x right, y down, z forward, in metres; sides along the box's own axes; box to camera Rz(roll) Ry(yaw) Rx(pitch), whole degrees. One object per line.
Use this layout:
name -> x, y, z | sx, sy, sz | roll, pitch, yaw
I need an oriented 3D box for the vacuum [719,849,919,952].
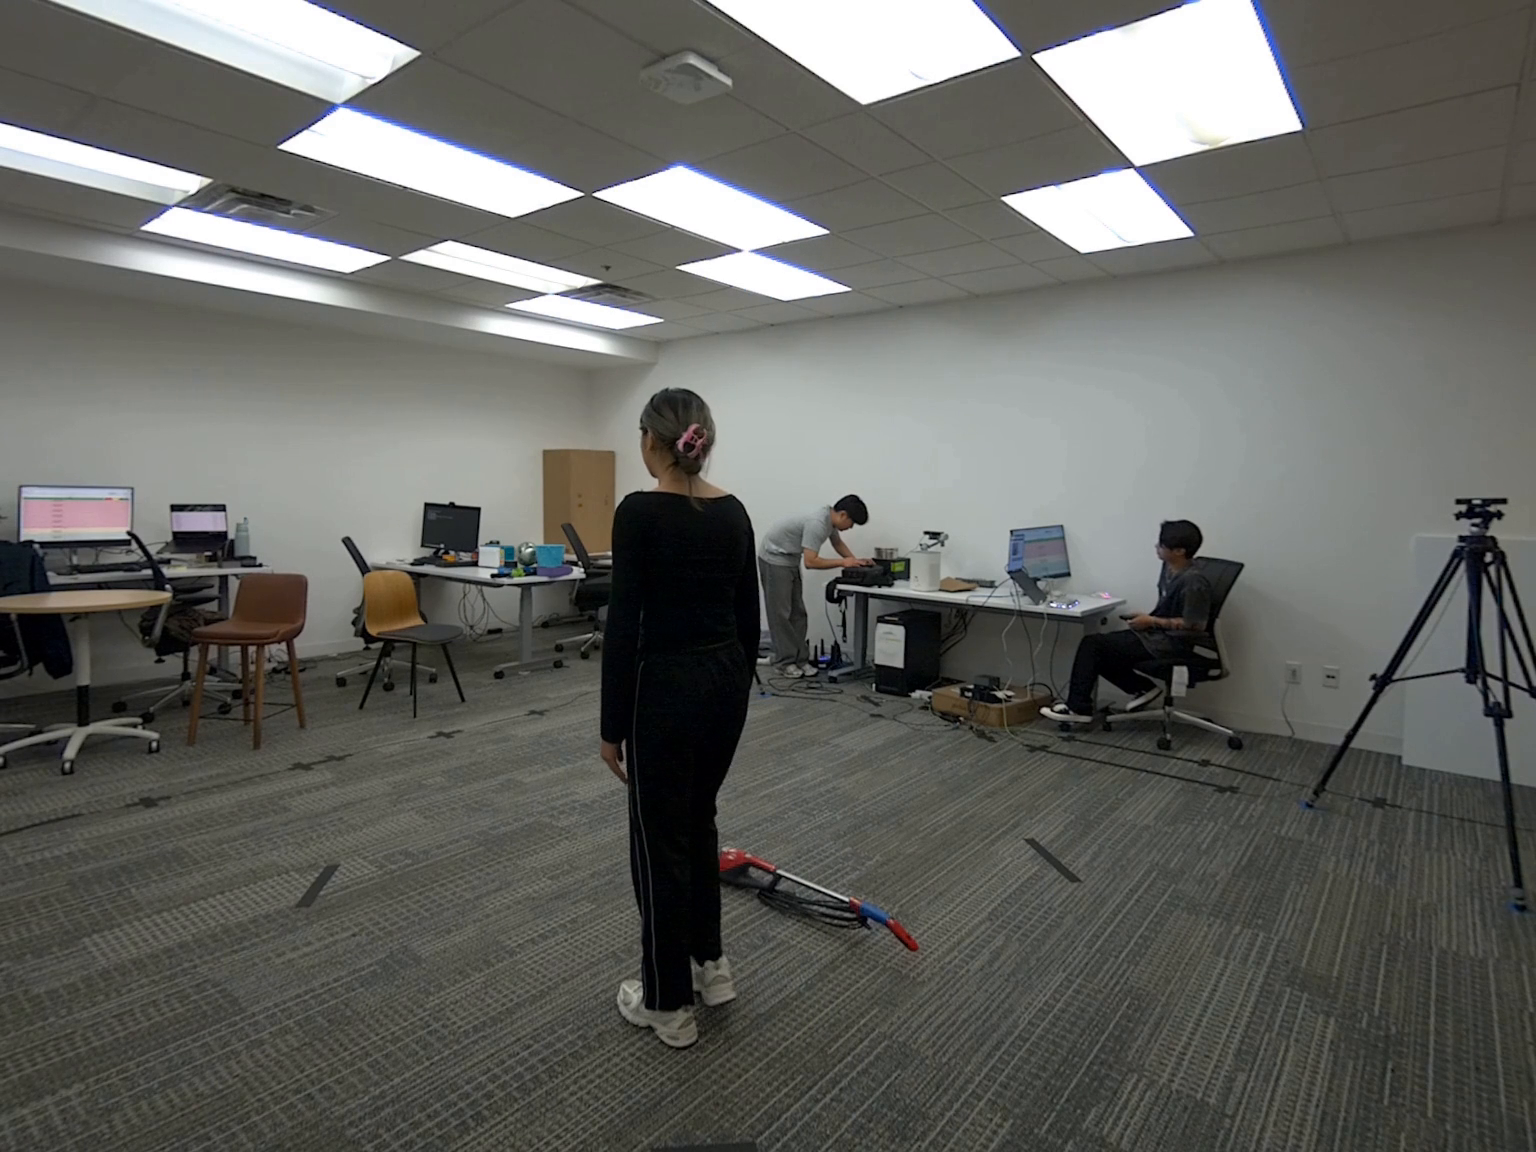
vacuum -> 0.028, 1.041, 2.857 | 1.086, 0.143, 0.245 | 7, 9, 43
